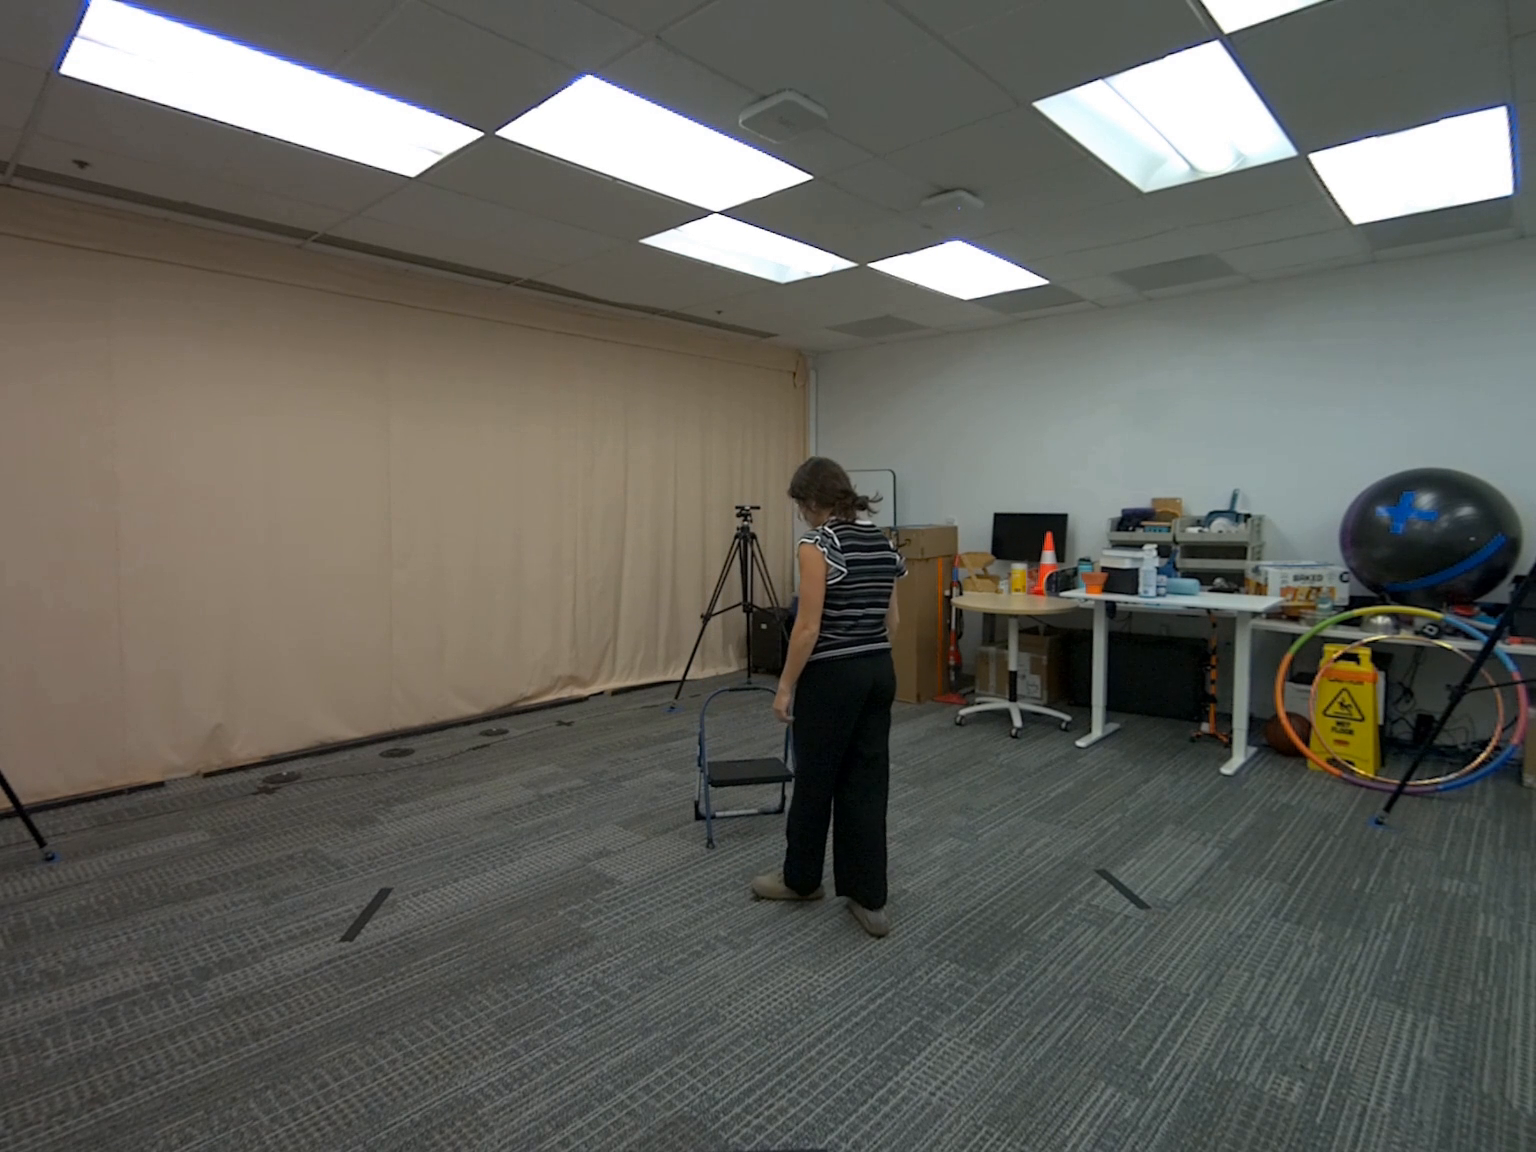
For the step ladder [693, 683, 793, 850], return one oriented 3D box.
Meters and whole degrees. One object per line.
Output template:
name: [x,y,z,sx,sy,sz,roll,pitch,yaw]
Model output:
step ladder: [-0.084,0.792,3.621,0.425,0.605,0.355,-1,3,-13]
